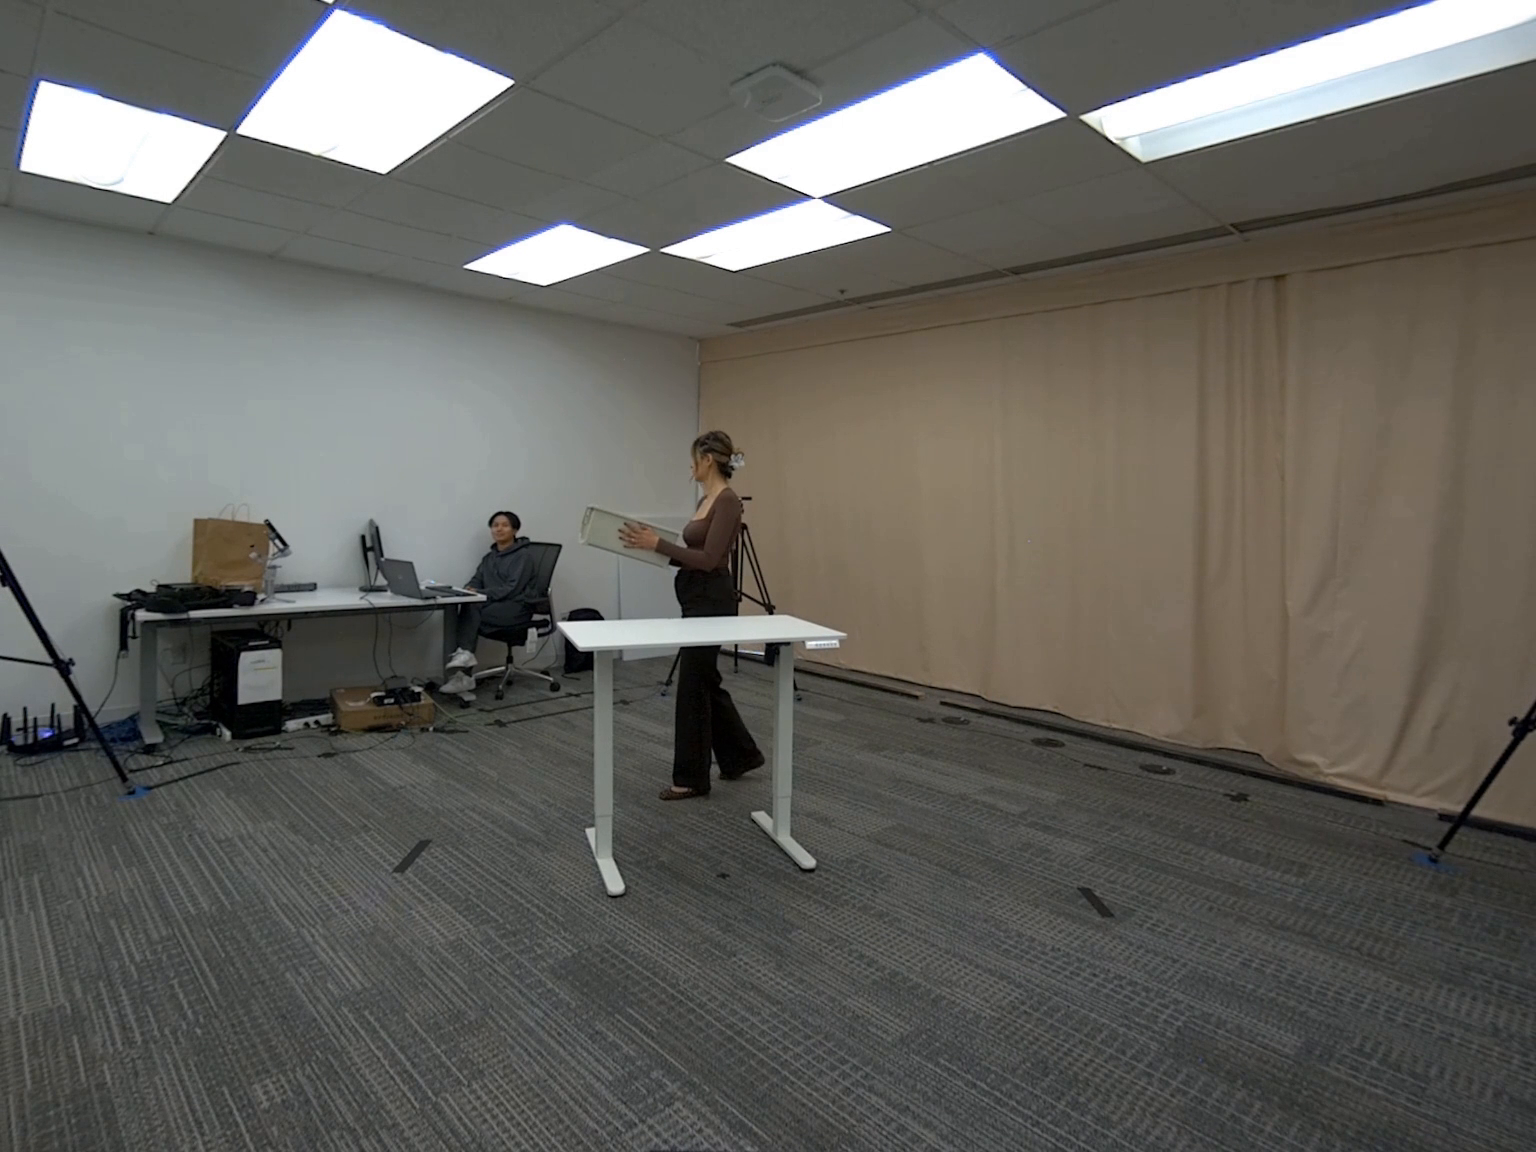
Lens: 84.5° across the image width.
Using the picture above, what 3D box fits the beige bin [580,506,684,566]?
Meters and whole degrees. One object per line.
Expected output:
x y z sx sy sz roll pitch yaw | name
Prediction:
-0.649 -0.181 3.888 0.417 0.189 0.382 17 1 -13 | beige bin
